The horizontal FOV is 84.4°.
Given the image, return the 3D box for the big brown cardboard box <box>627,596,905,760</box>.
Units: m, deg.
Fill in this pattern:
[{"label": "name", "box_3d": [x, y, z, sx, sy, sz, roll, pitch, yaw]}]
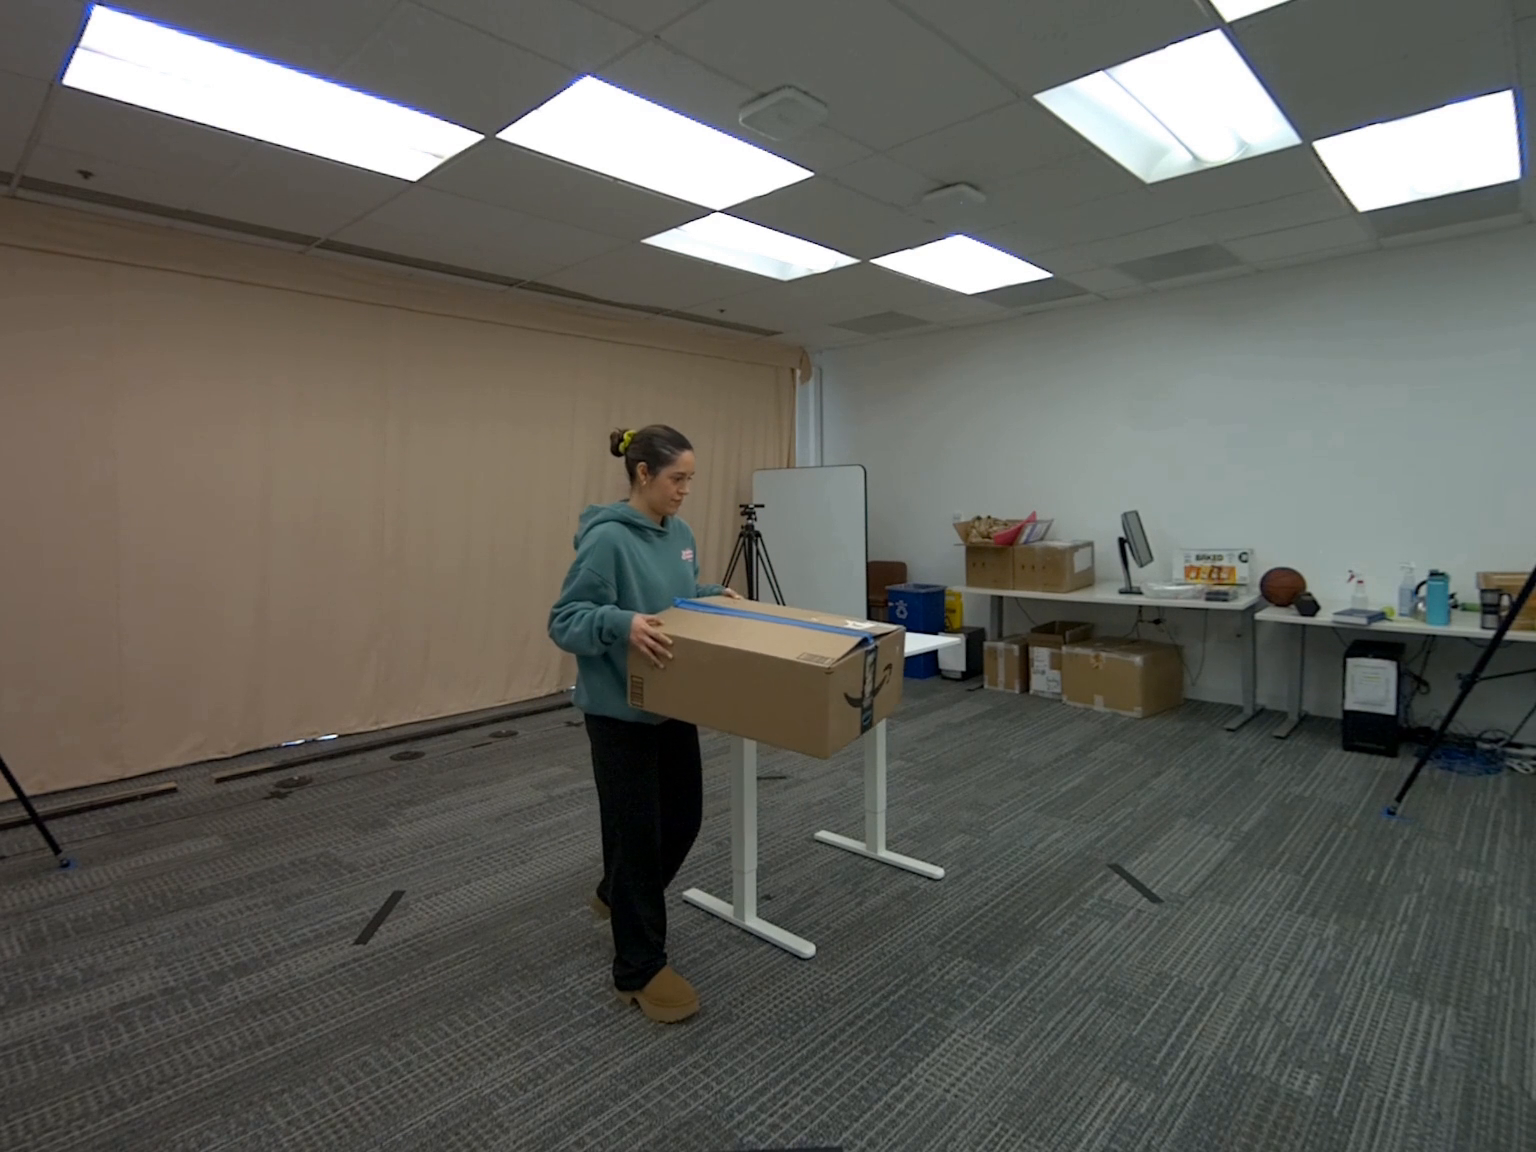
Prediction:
[{"label": "big brown cardboard box", "box_3d": [0.004, 0.225, 2.126, 0.607, 0.232, 0.407, 8, 12, 32]}]
